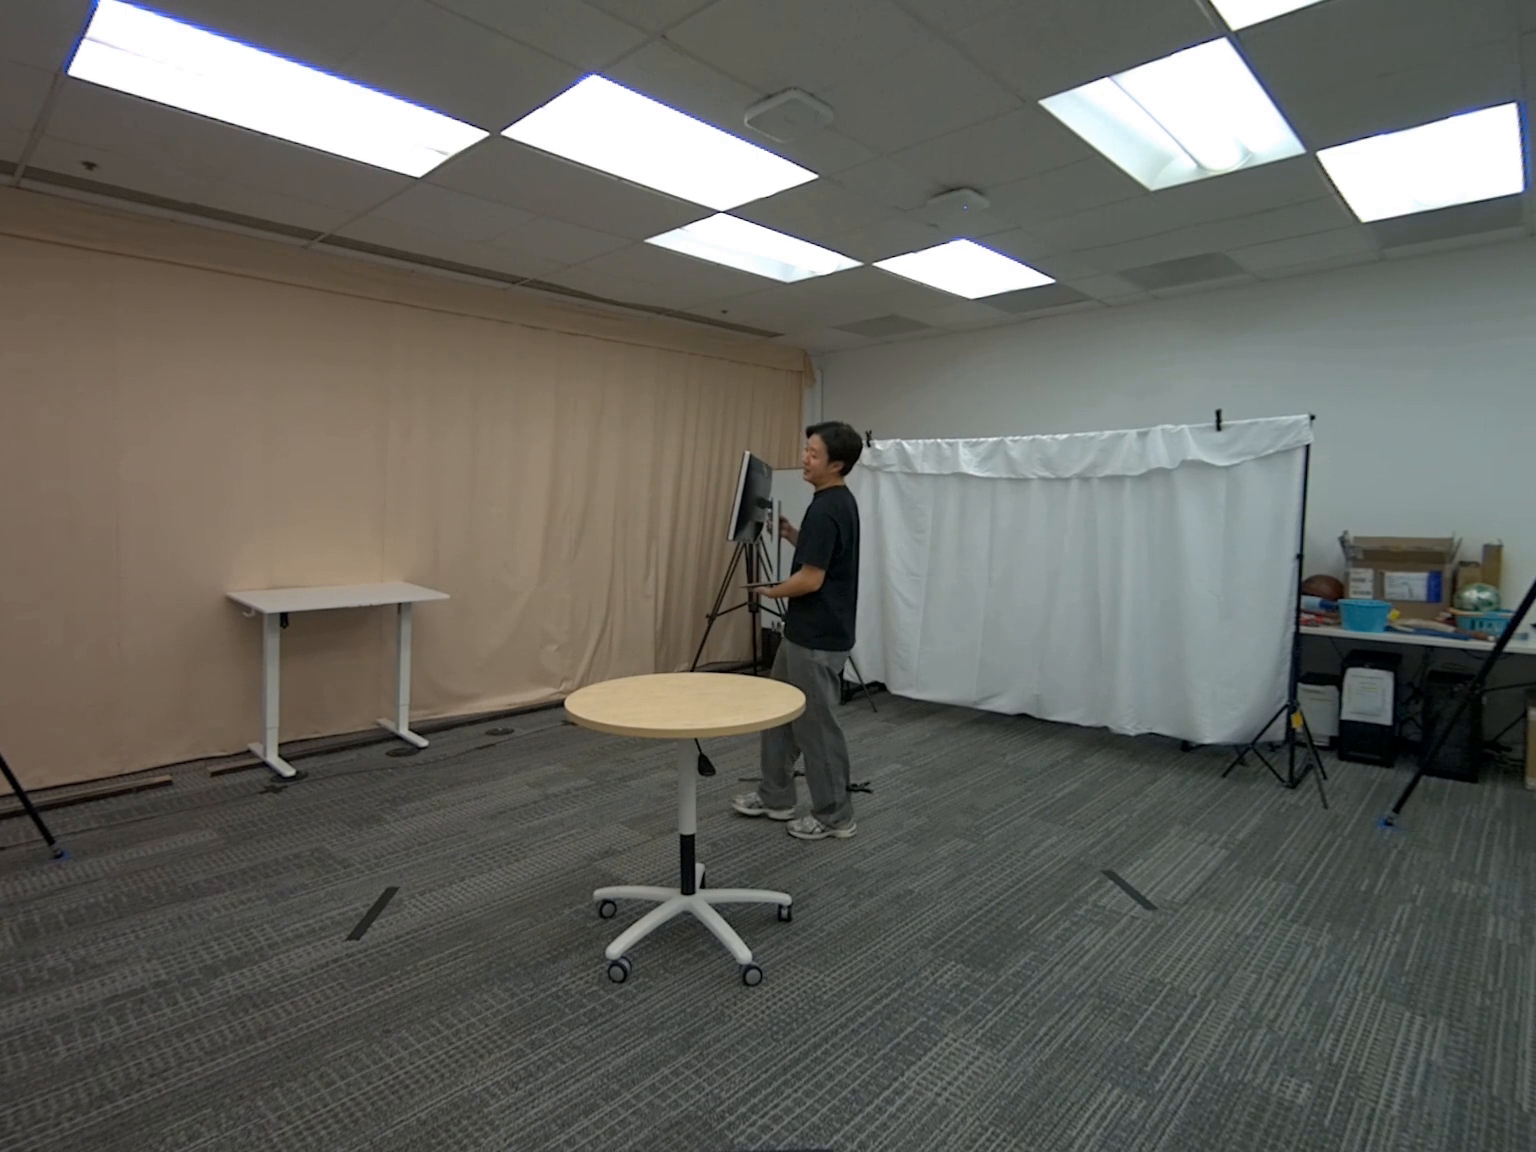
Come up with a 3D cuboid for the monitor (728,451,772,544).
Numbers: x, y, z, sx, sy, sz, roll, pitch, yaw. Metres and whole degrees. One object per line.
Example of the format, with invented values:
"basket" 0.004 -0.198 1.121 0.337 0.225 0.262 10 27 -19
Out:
"monitor" -0.035 -0.215 3.610 0.225 0.567 0.553 -5 -2 13
